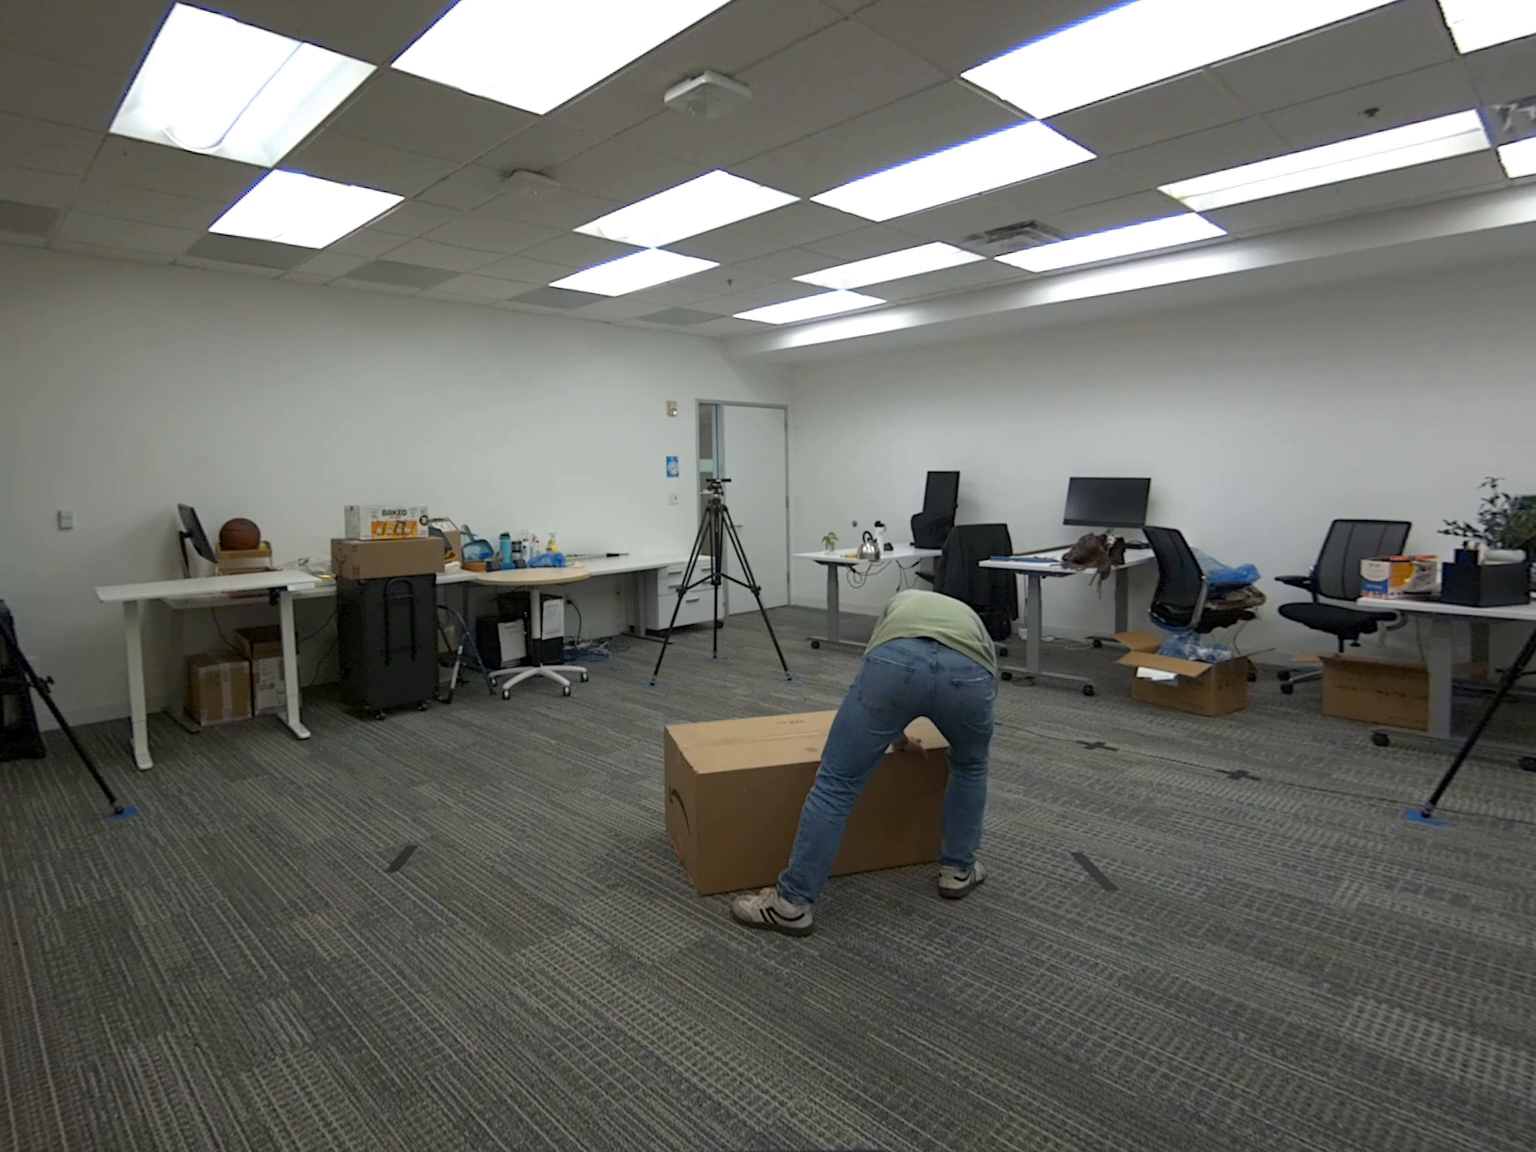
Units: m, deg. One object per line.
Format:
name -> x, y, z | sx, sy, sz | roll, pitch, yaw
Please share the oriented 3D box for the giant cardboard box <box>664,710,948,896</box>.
giant cardboard box -> 0.159, 0.809, 3.254 | 1.011, 0.424, 0.588 | -2, 6, -16
